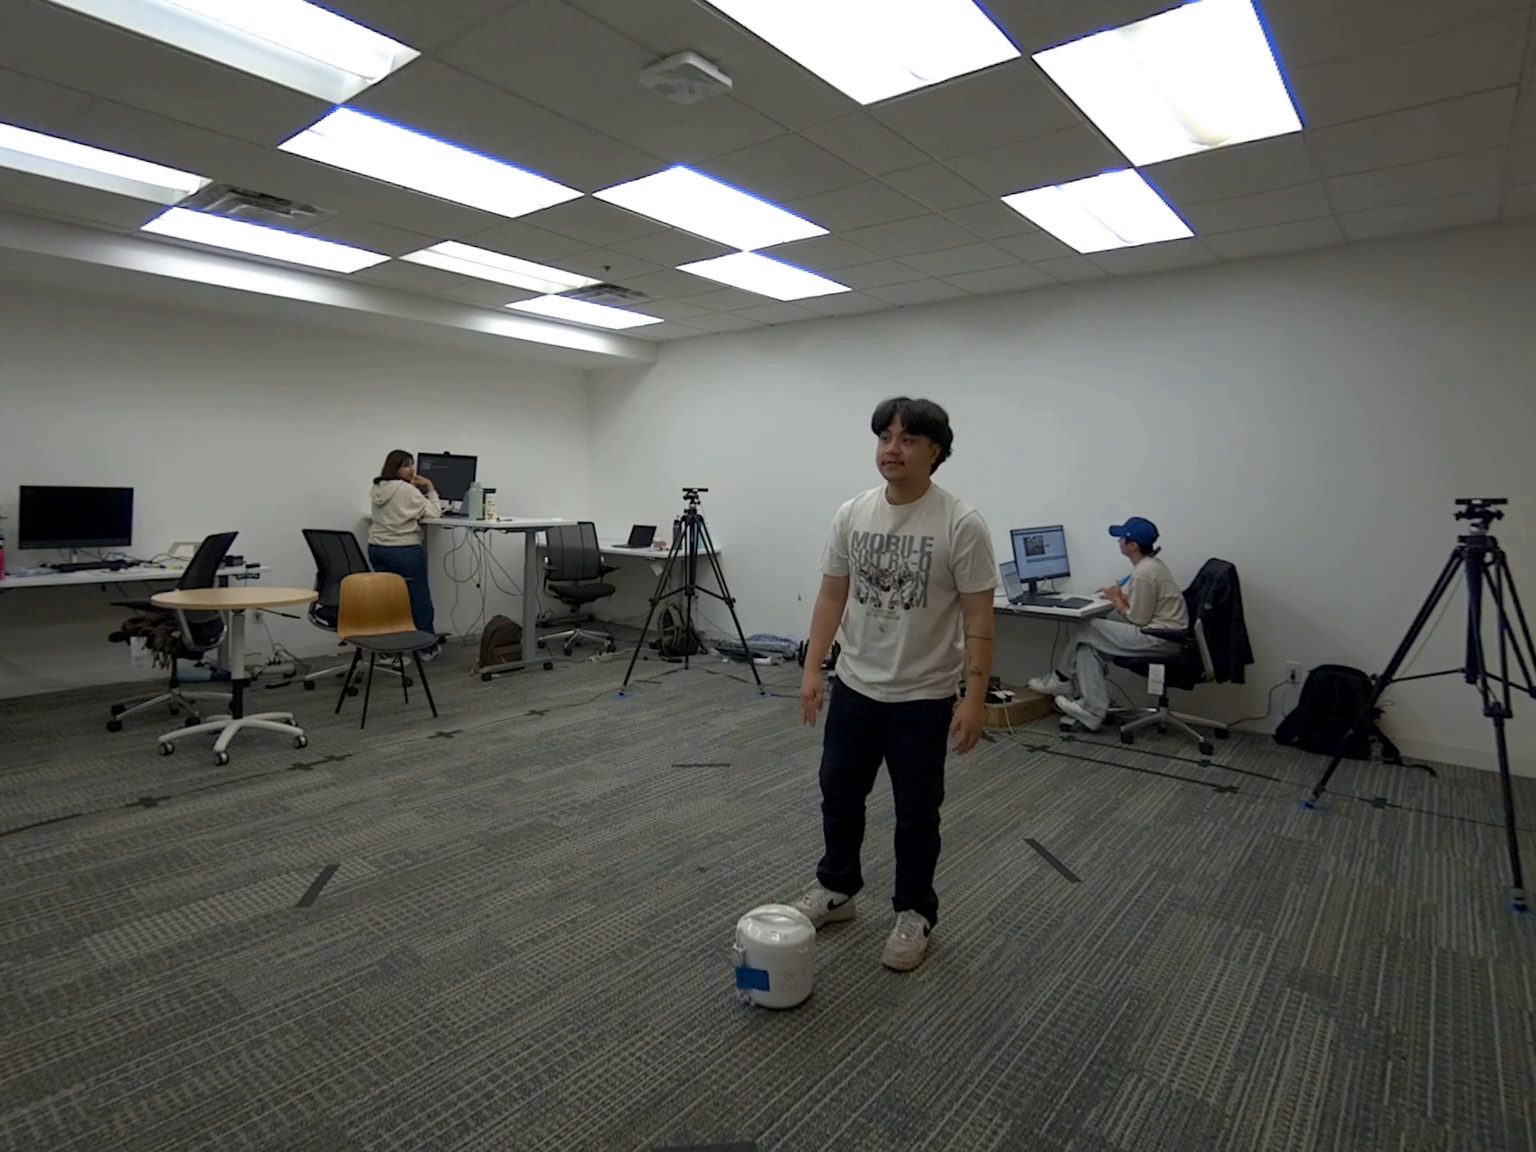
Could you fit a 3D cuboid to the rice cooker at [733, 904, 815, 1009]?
[{"bbox_3d":[0.013,1.031,2.357,0.223,0.232,0.216,2,5,9],"label":"rice cooker"}]
